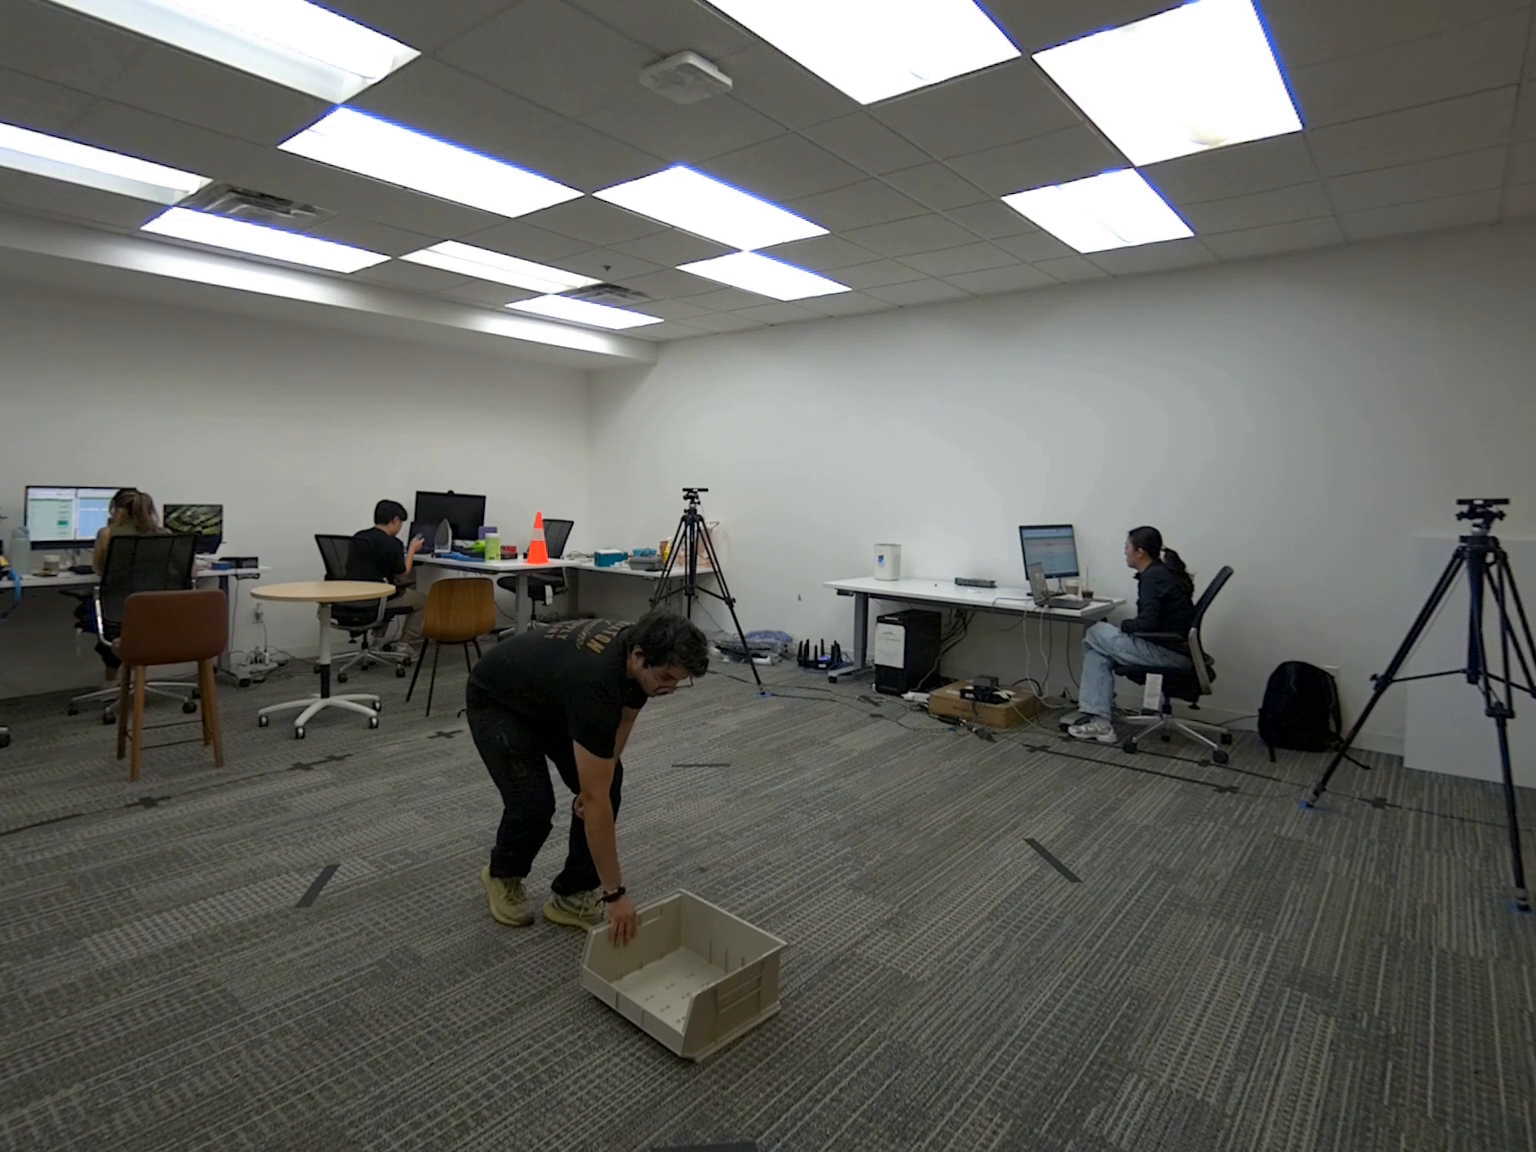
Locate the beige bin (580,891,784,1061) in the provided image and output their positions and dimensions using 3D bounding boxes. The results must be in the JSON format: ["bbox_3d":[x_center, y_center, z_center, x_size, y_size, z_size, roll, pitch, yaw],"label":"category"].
[{"bbox_3d":[-0.239,1.061,2.293,0.437,0.188,0.366,5,5,43],"label":"beige bin"}]
